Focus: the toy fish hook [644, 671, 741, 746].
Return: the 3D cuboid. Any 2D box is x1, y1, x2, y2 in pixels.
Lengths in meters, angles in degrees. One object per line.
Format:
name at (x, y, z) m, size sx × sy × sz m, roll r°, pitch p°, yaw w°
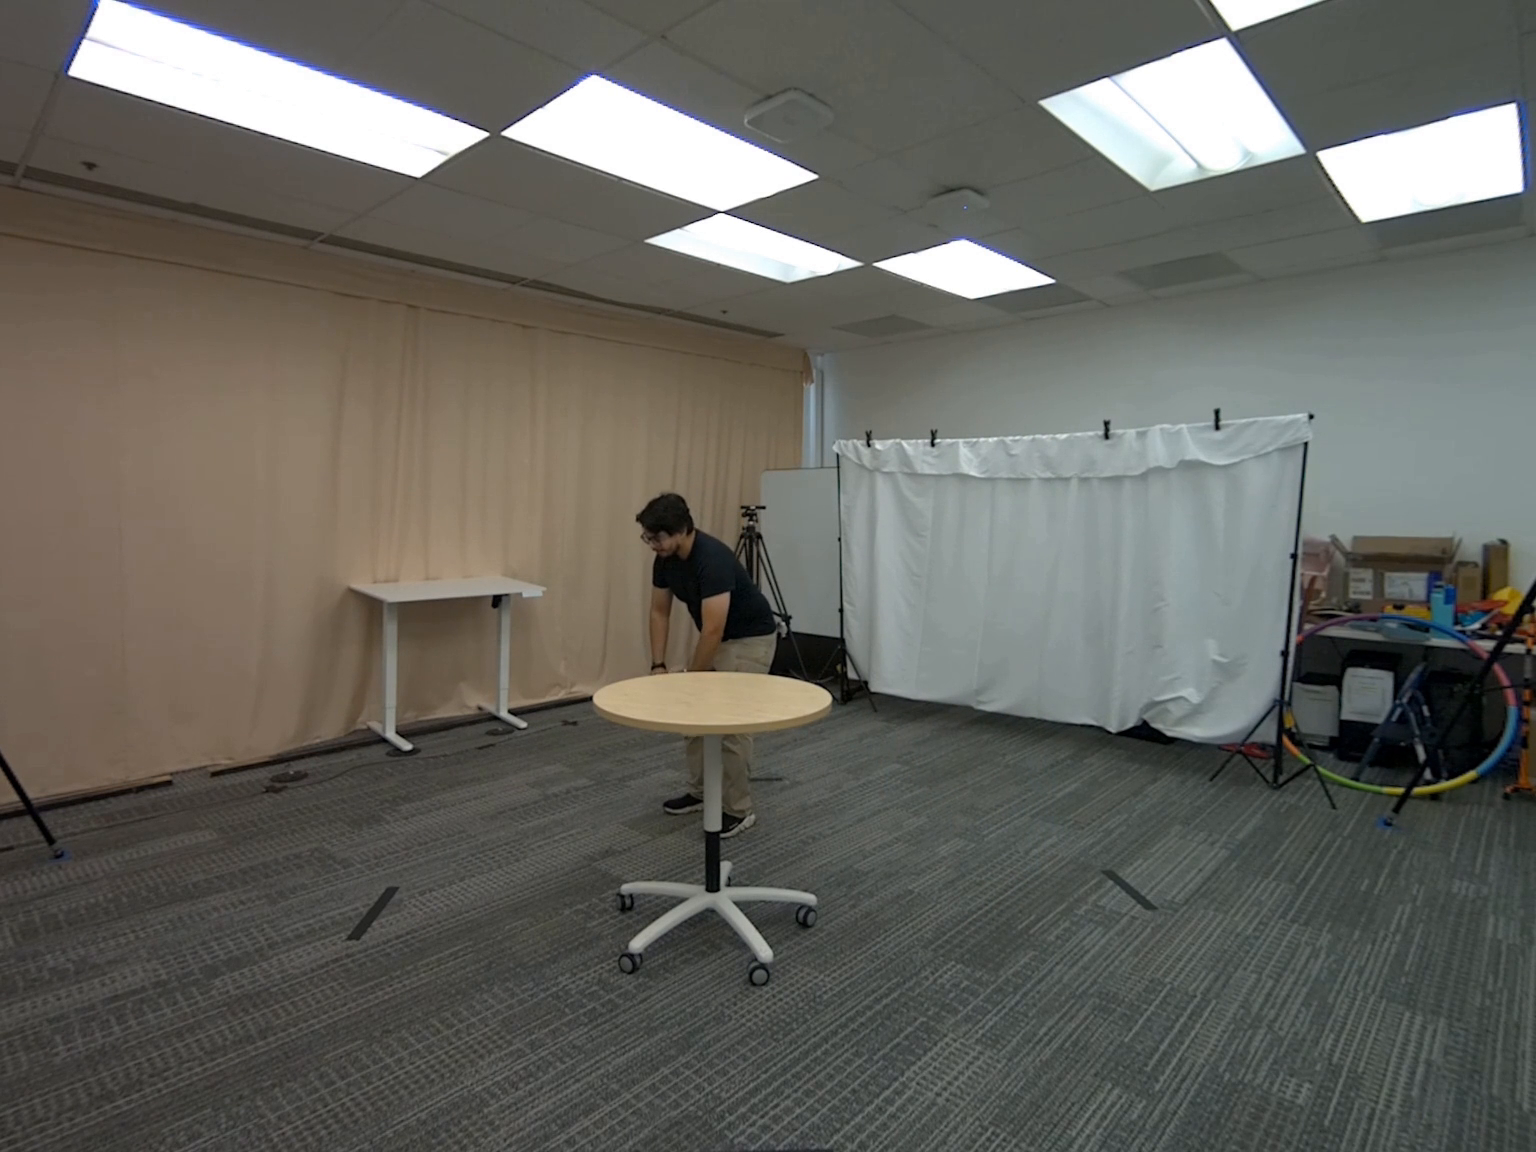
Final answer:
toy fish hook at (-0.326, 0.539, 3.507) m, size 0.219 × 0.048 × 0.523 m, roll -4°, pitch 21°, yaw -26°
